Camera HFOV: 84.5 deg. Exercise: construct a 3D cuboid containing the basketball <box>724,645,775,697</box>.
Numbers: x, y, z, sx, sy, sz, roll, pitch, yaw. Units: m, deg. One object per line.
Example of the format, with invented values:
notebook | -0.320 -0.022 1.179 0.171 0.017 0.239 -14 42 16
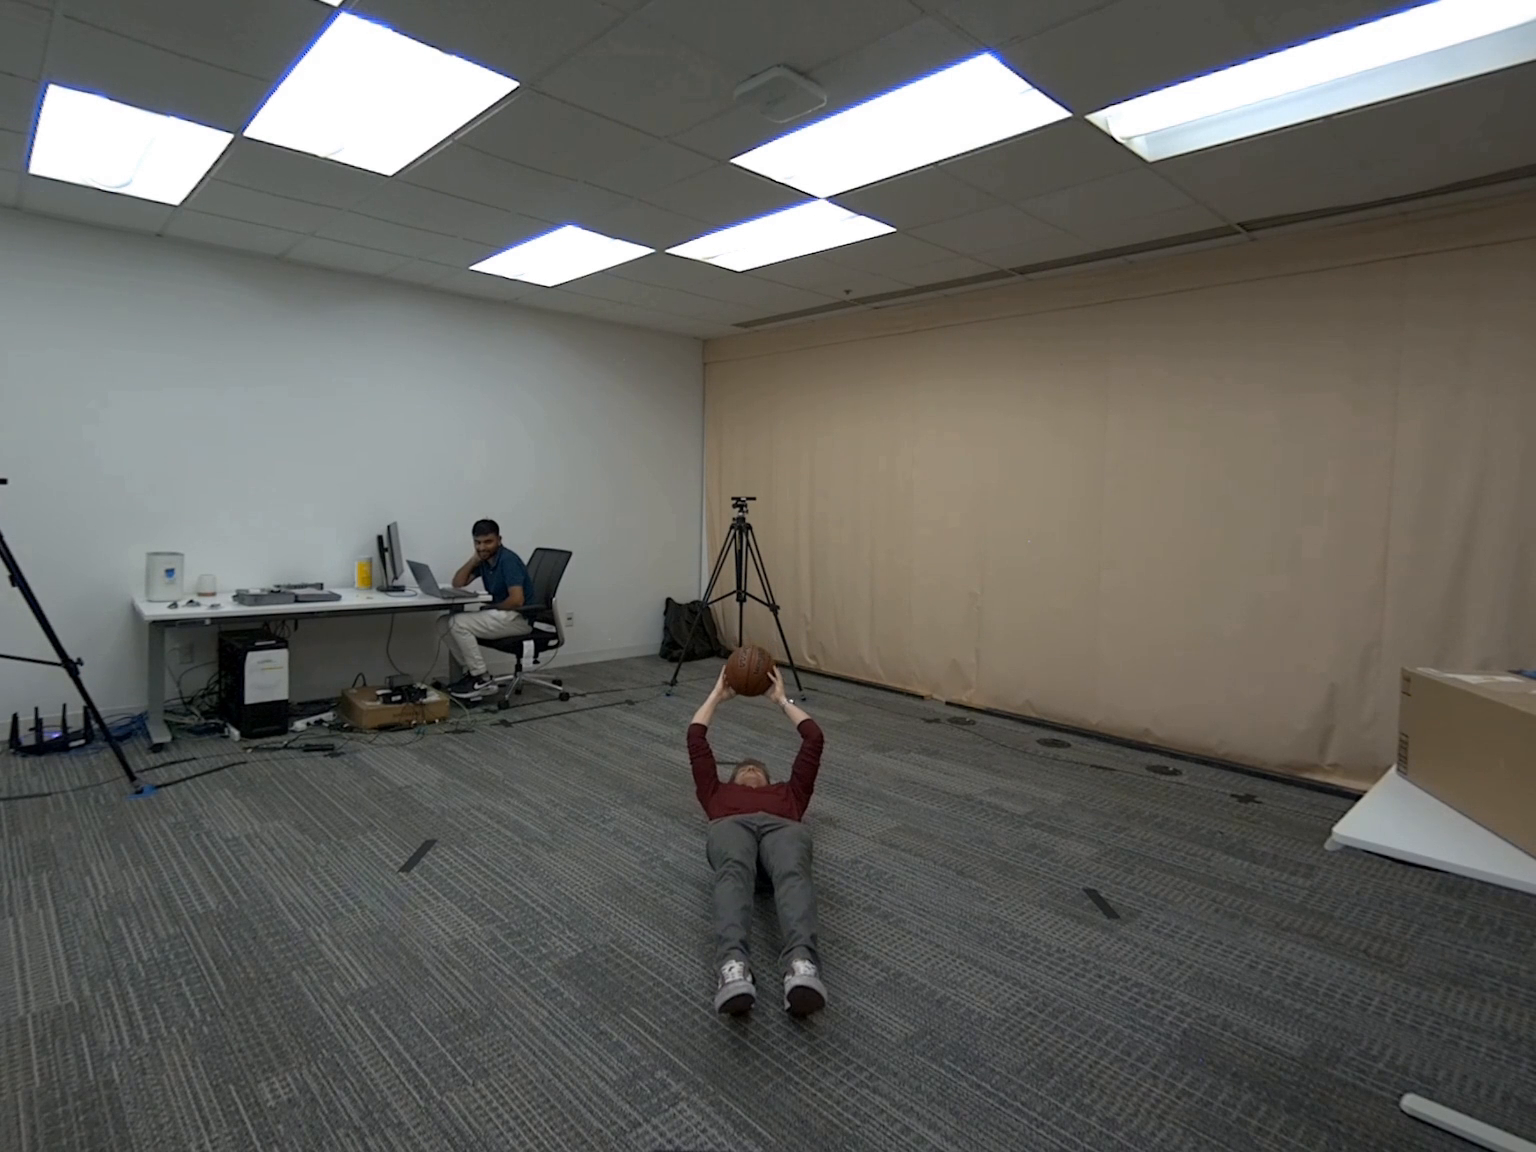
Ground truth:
basketball | -0.093 0.447 3.938 0.236 0.235 0.237 1 4 -1
